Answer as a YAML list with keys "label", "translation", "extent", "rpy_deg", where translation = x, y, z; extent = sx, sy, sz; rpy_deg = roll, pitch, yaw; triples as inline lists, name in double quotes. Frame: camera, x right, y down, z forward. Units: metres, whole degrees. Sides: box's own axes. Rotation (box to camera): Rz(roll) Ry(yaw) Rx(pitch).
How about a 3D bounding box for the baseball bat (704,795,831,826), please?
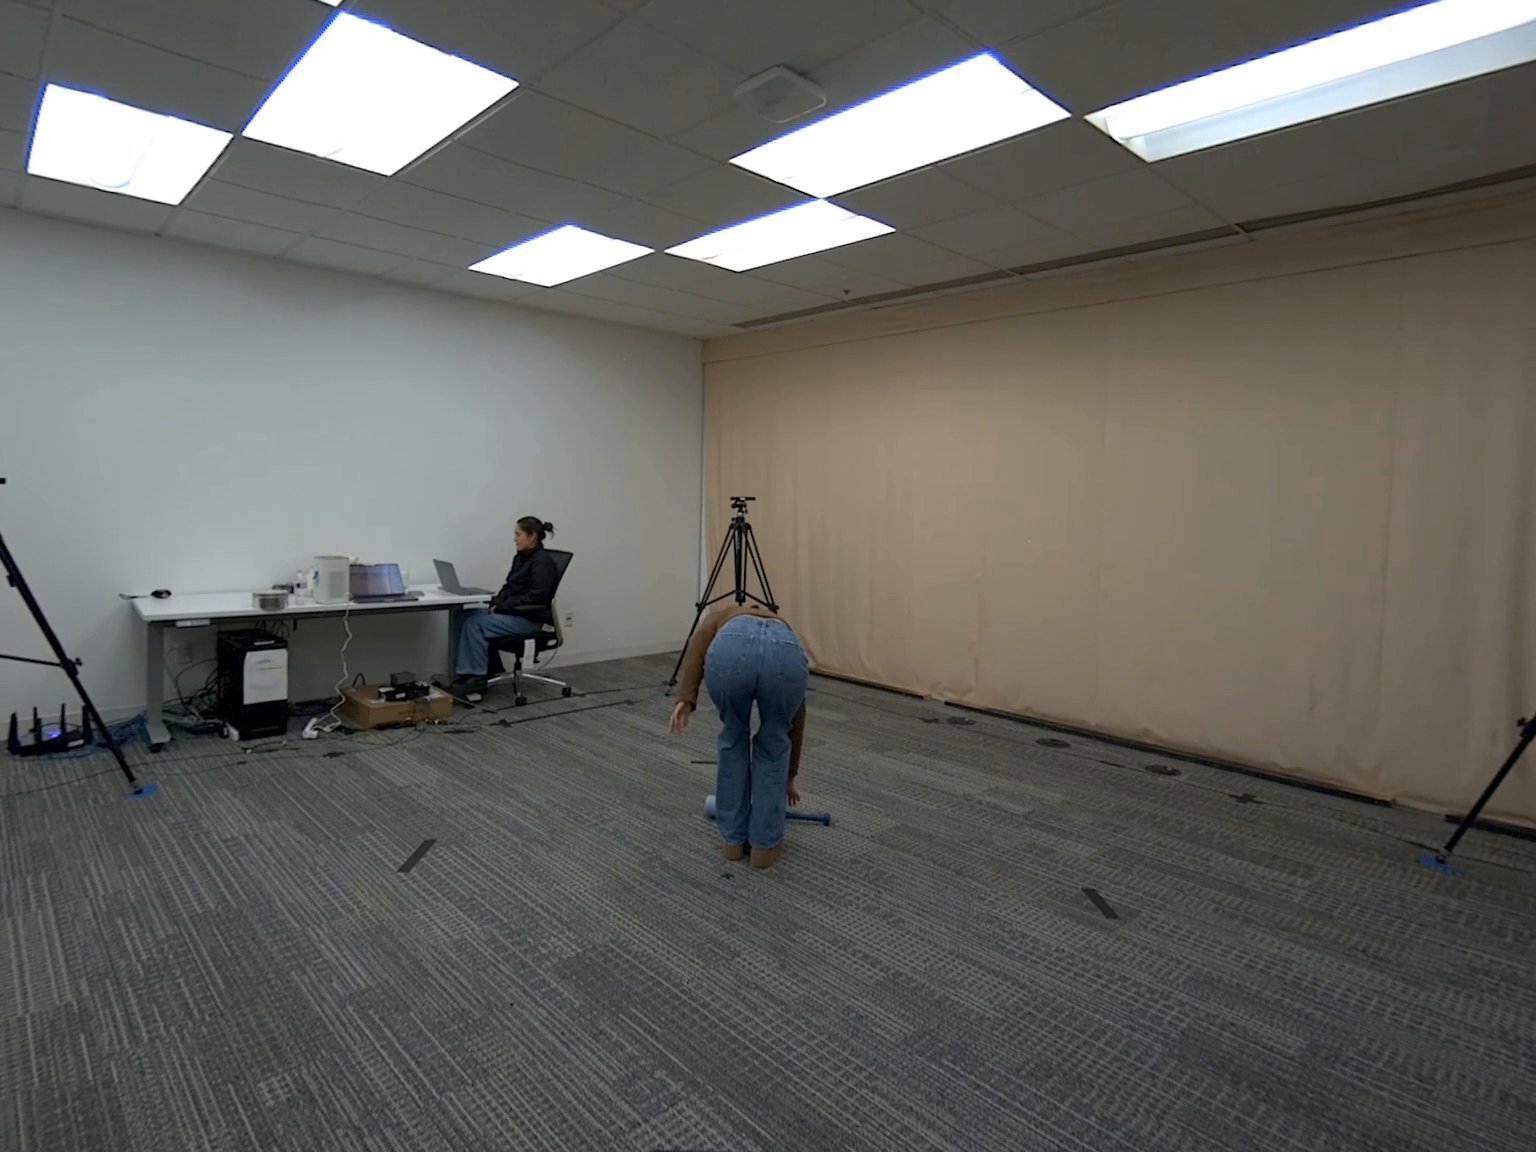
- label: "baseball bat"
  translation: [-0.009, 1.027, 3.648]
  extent: [0.545, 0.089, 0.089]
  rpy_deg: [6, 4, 5]
